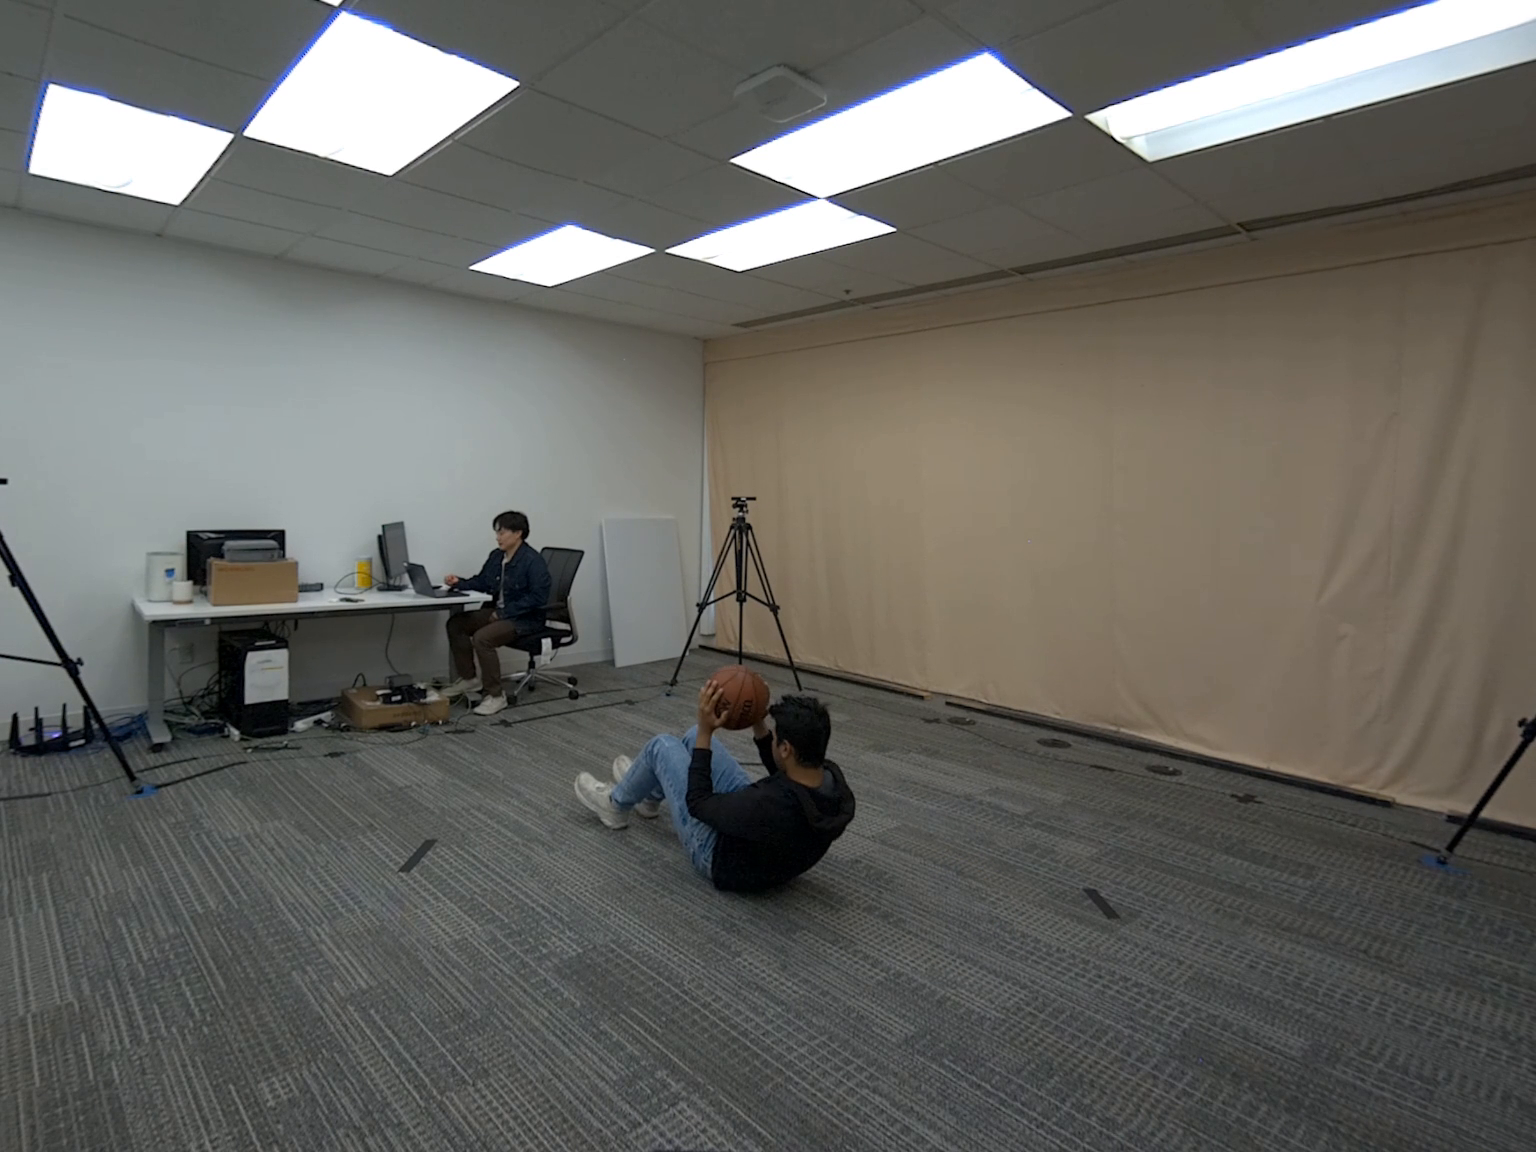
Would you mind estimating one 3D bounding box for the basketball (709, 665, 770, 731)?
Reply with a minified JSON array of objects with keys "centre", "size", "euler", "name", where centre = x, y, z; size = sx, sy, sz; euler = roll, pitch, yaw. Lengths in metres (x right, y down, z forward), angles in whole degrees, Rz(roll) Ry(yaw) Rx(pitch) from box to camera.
[{"centre":[-0.115,0.451,3.088],"size":[0.236,0.235,0.237],"euler":[1,4,-1],"name":"basketball"}]
